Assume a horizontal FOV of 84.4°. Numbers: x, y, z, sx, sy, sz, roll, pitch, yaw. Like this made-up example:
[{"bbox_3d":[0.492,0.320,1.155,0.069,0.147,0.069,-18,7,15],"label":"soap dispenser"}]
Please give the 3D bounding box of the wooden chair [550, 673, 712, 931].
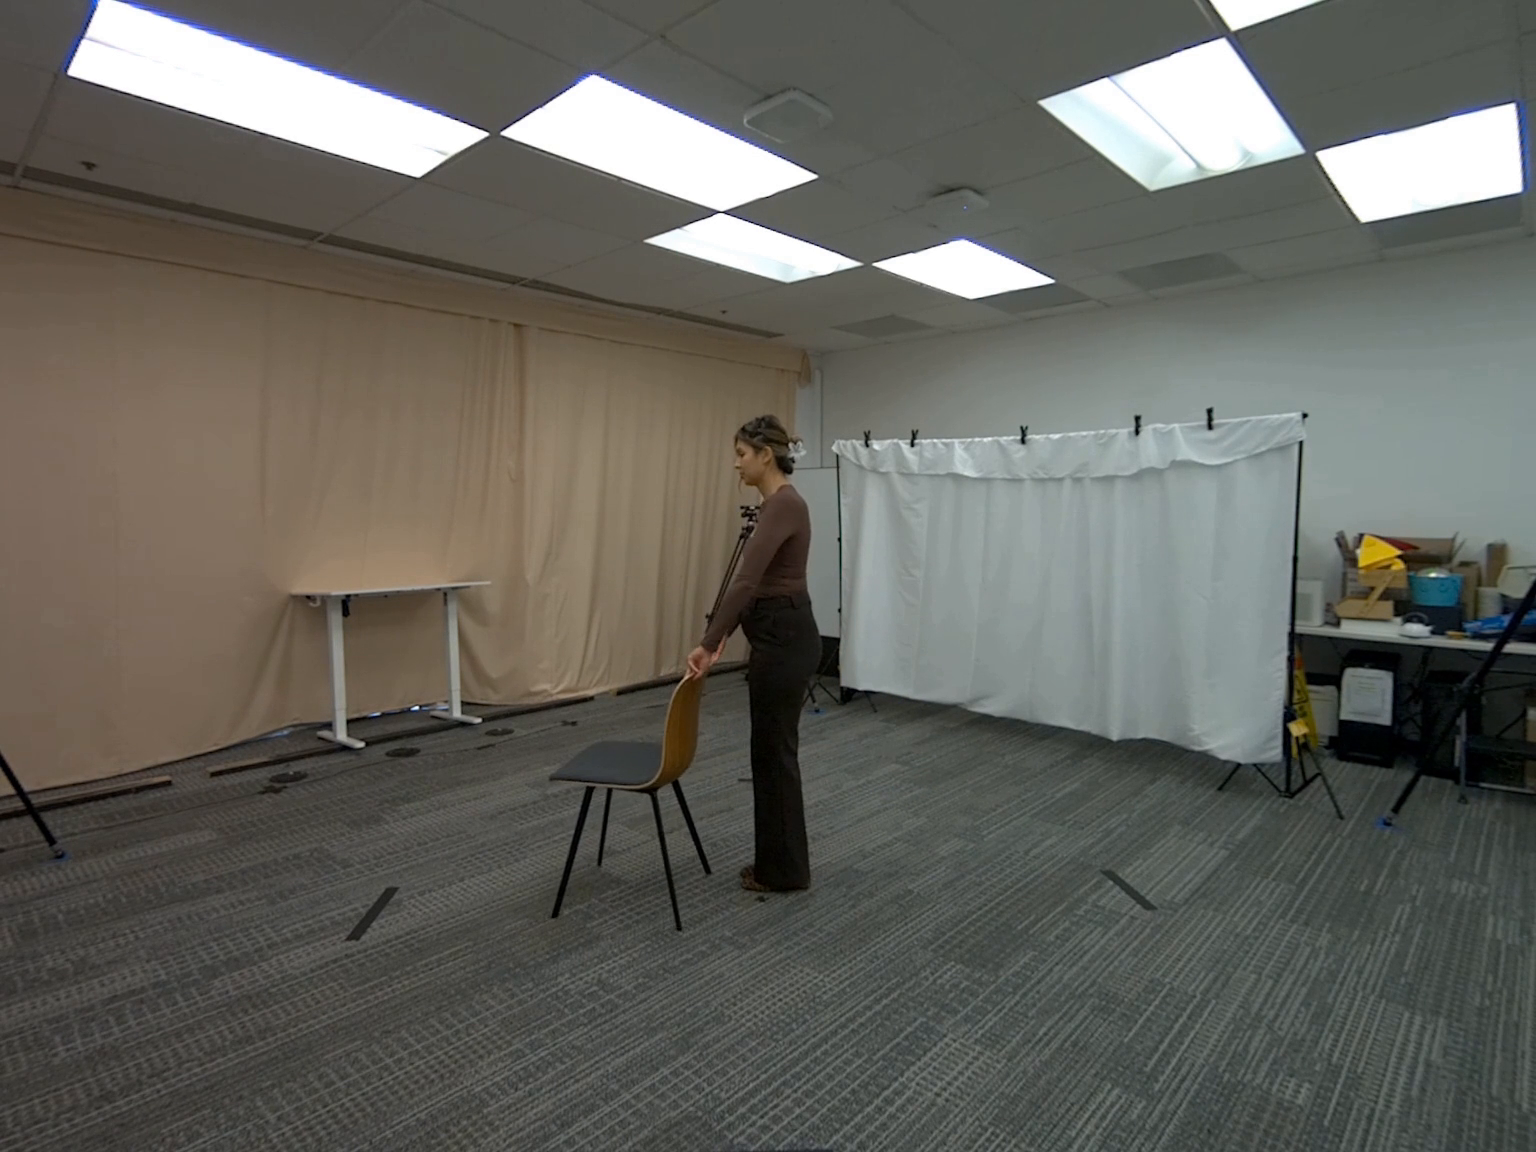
[{"bbox_3d":[-0.481,0.723,2.987,0.530,0.875,0.473,4,4,10],"label":"wooden chair"}]
